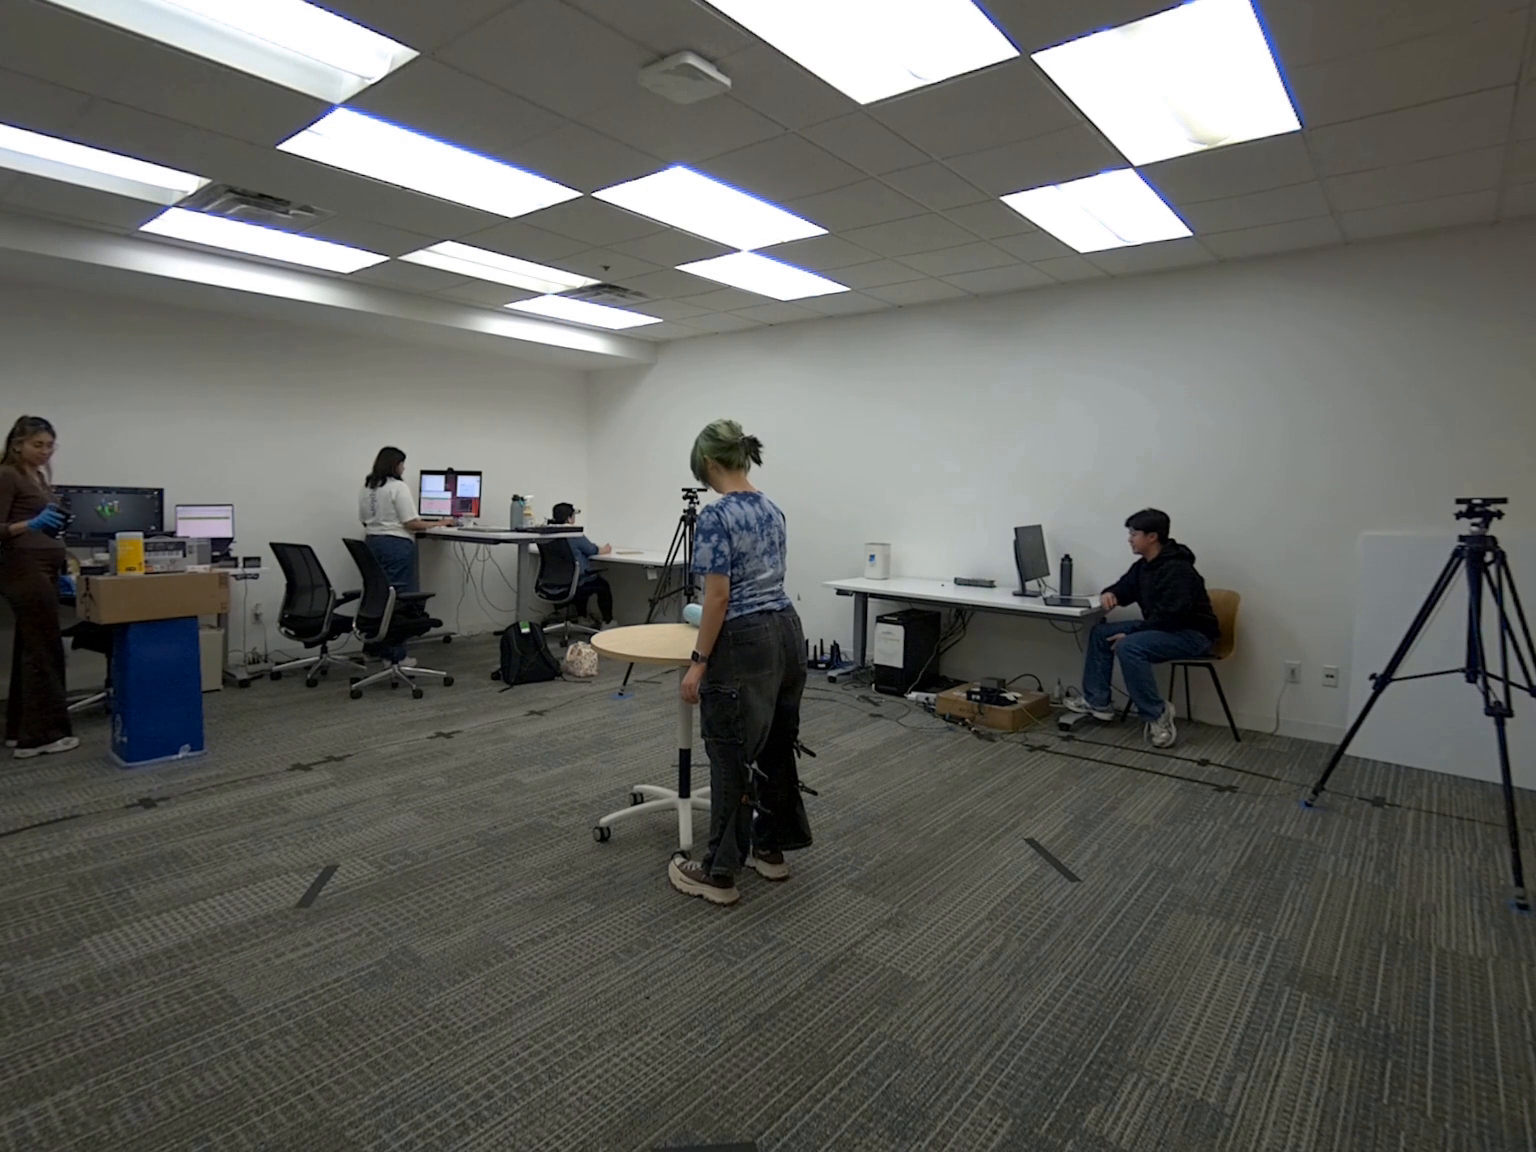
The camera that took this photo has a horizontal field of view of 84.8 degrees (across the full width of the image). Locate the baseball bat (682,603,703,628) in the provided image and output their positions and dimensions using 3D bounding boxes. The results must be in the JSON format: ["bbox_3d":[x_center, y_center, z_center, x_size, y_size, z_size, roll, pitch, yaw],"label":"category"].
[{"bbox_3d":[-0.196,0.205,3.574,0.086,0.088,0.562,-2,10,-34],"label":"baseball bat"}]
